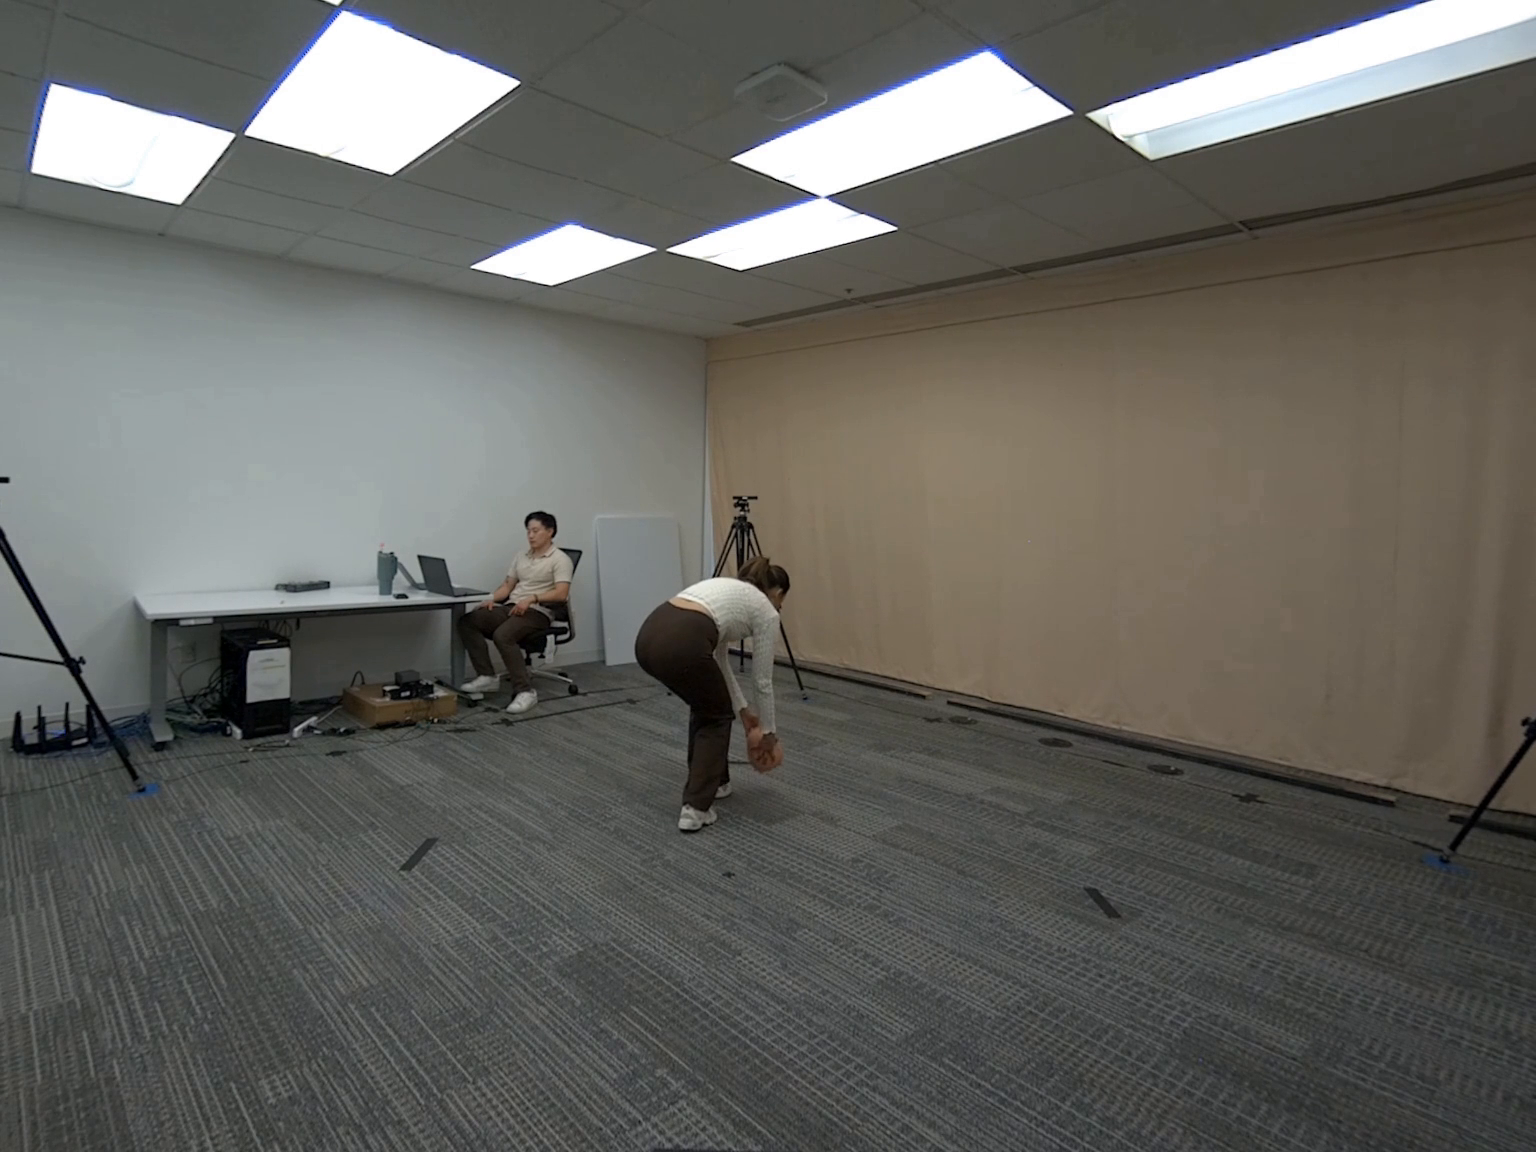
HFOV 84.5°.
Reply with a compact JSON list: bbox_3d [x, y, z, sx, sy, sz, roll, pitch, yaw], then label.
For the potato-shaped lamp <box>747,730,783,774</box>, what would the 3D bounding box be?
[{"bbox_3d":[-0.037,0.803,3.989,0.163,0.194,0.177,-17,35,-19],"label":"potato-shaped lamp"}]
